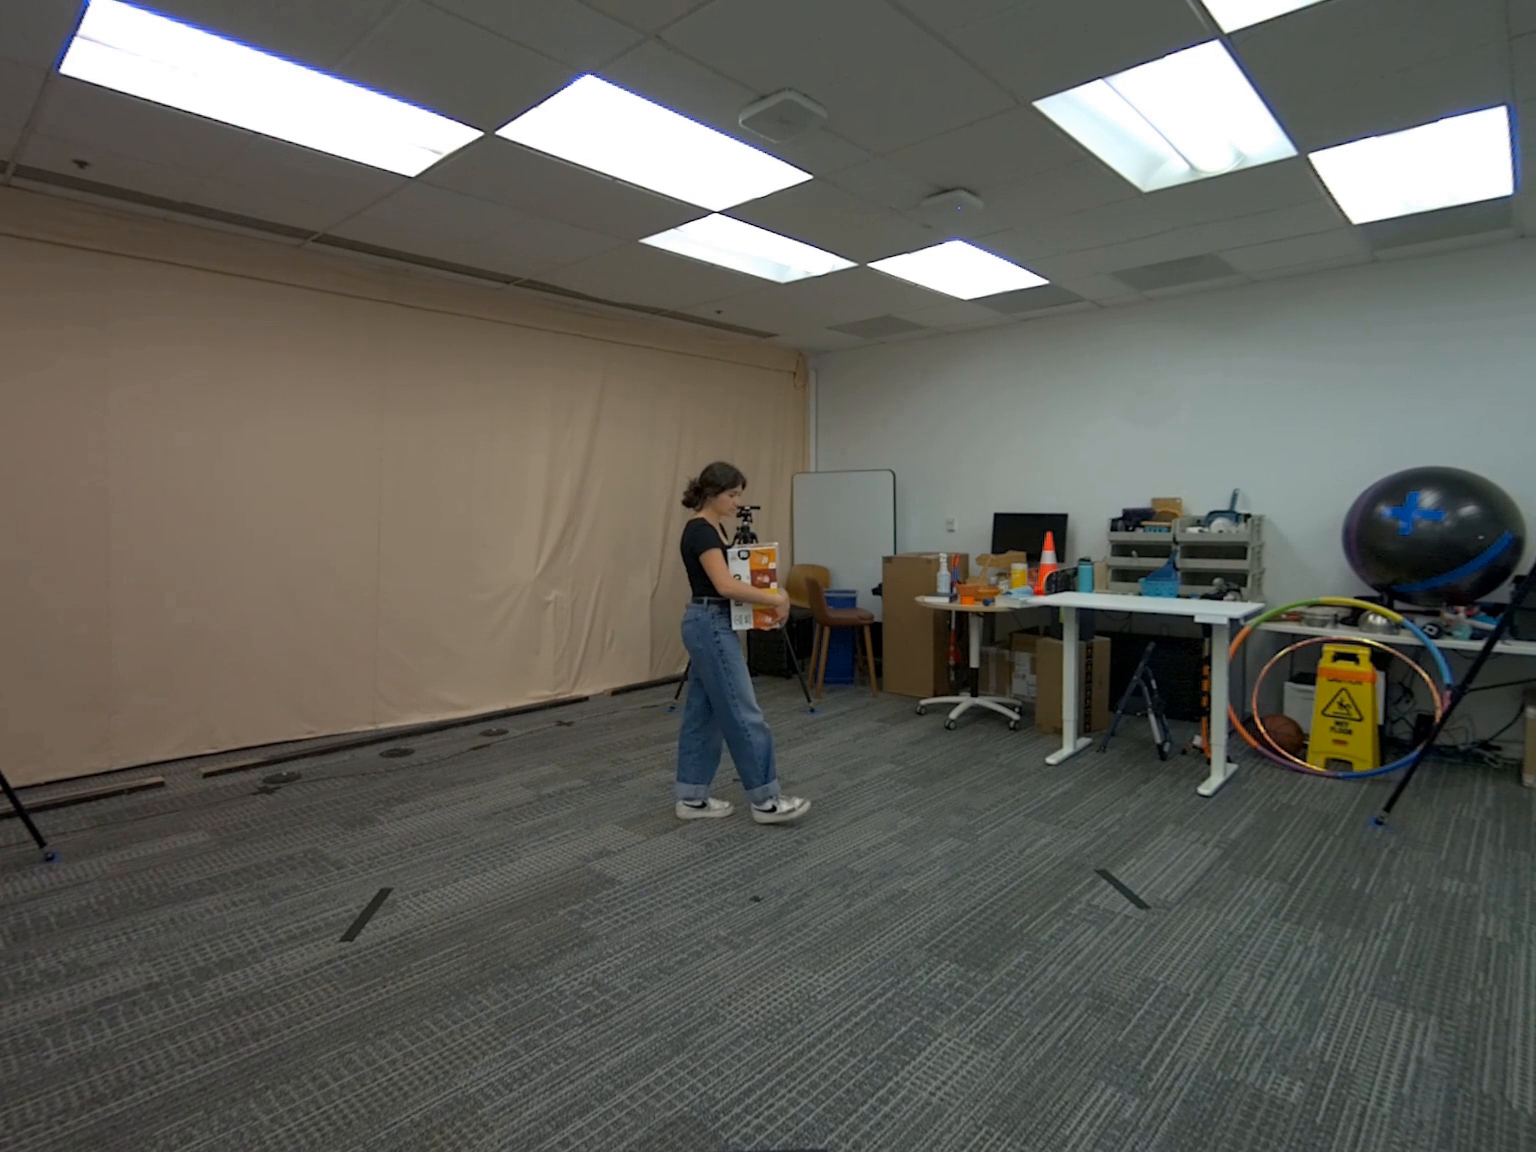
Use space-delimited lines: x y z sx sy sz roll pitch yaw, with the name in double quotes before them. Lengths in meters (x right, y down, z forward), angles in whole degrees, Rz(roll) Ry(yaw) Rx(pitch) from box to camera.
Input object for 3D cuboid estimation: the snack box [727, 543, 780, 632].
"snack box" -0.048 0.035 3.738 0.207 0.339 0.404 -3 5 4
